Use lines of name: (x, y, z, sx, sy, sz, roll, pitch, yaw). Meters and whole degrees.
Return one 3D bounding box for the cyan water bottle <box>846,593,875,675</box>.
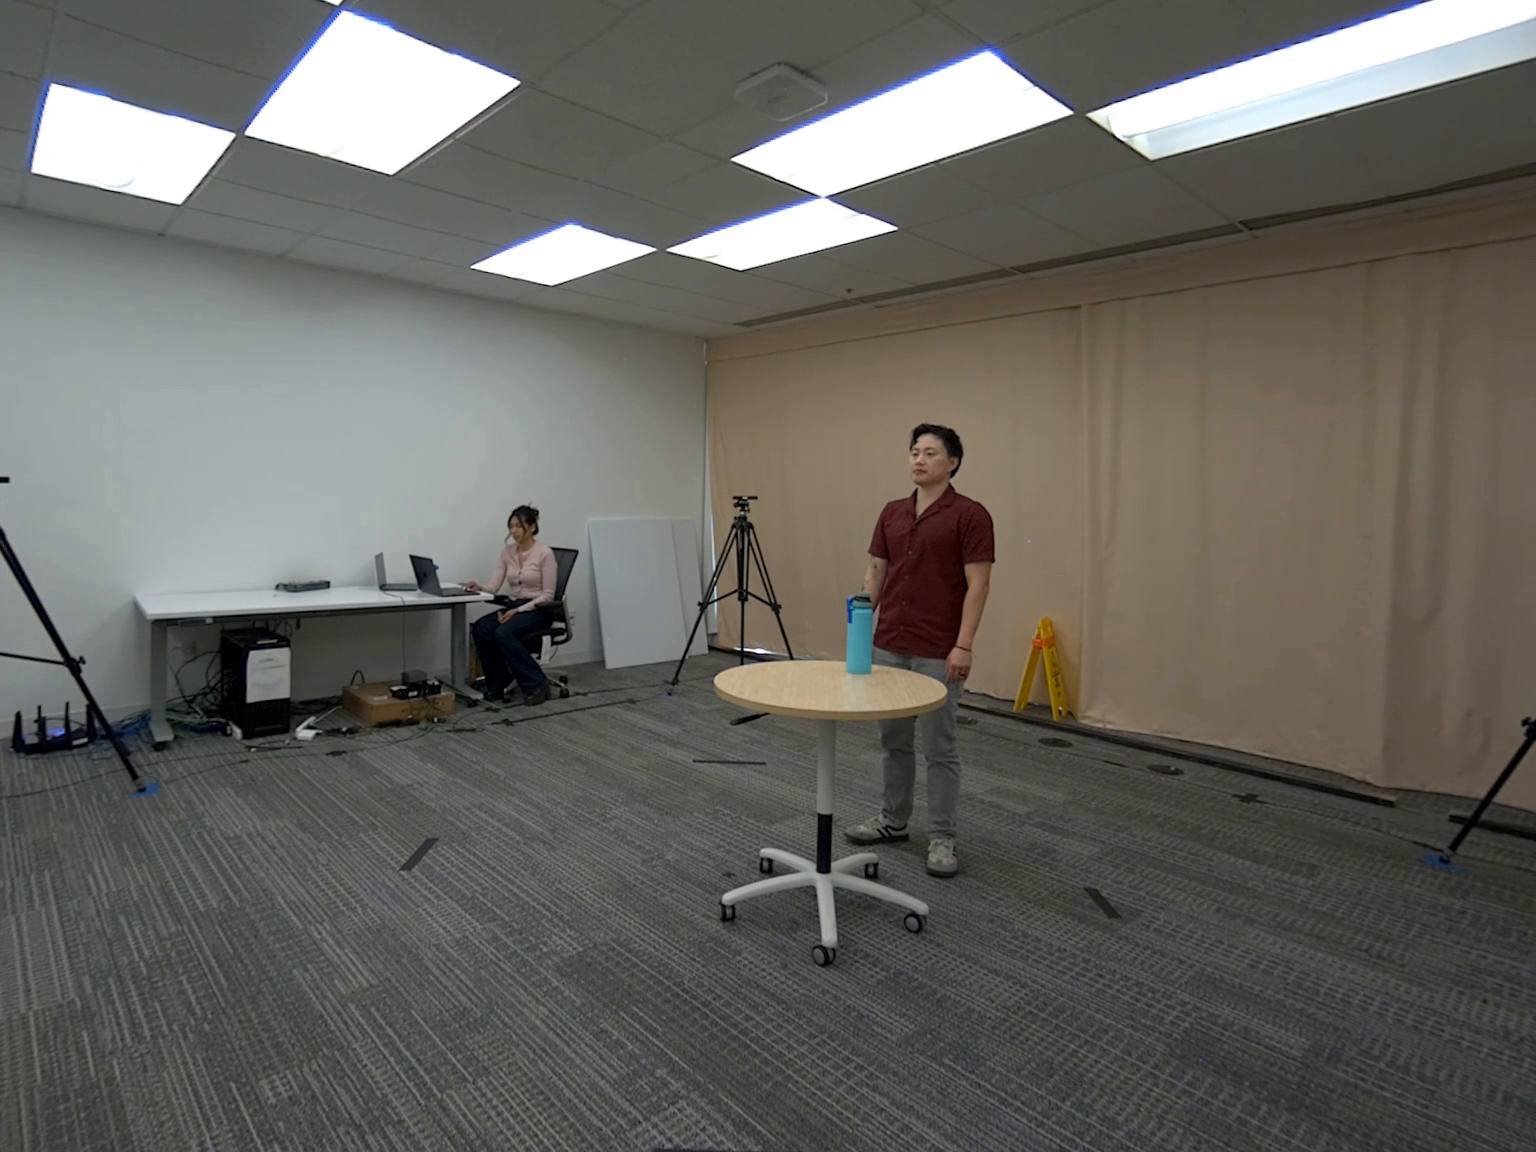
cyan water bottle: (0.325, 0.202, 2.981, 0.092, 0.283, 0.092, 1, 3, -1)
